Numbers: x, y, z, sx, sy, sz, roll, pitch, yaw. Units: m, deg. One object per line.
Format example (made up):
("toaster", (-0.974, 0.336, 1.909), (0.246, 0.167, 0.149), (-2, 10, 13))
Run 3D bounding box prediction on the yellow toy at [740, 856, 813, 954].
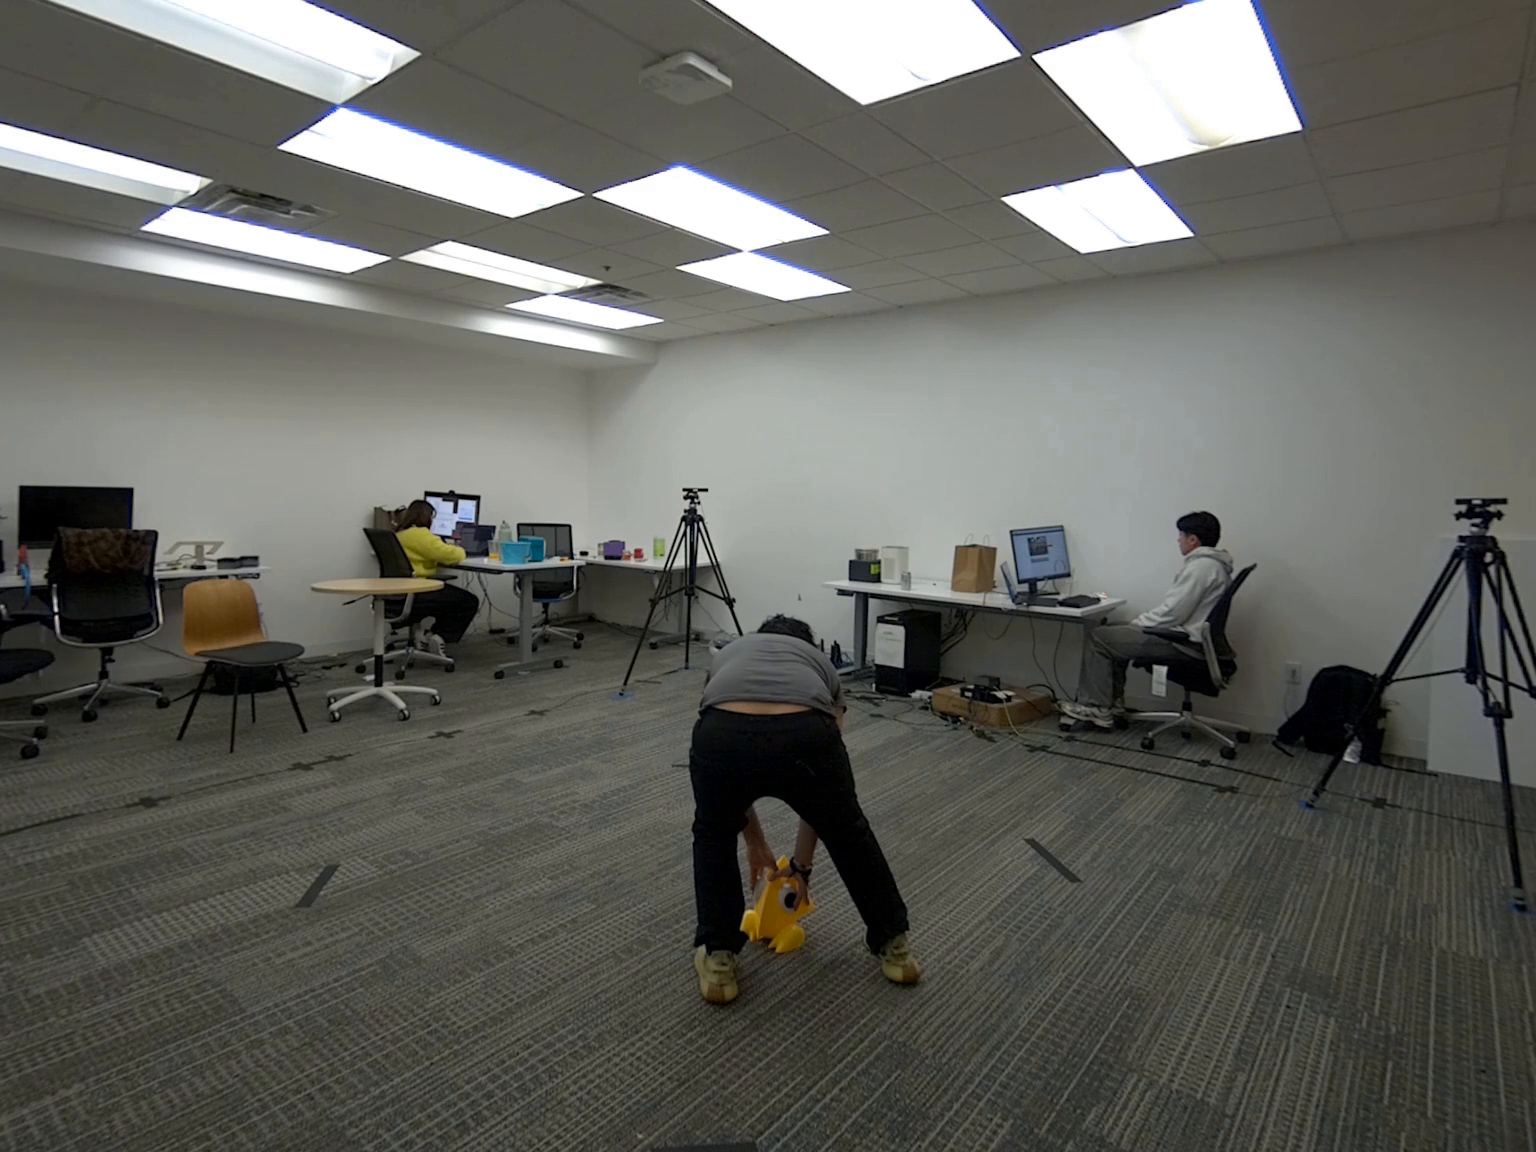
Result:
("yellow toy", (0.013, 1.007, 2.657), (0.211, 0.230, 0.188), (4, 6, 32))
